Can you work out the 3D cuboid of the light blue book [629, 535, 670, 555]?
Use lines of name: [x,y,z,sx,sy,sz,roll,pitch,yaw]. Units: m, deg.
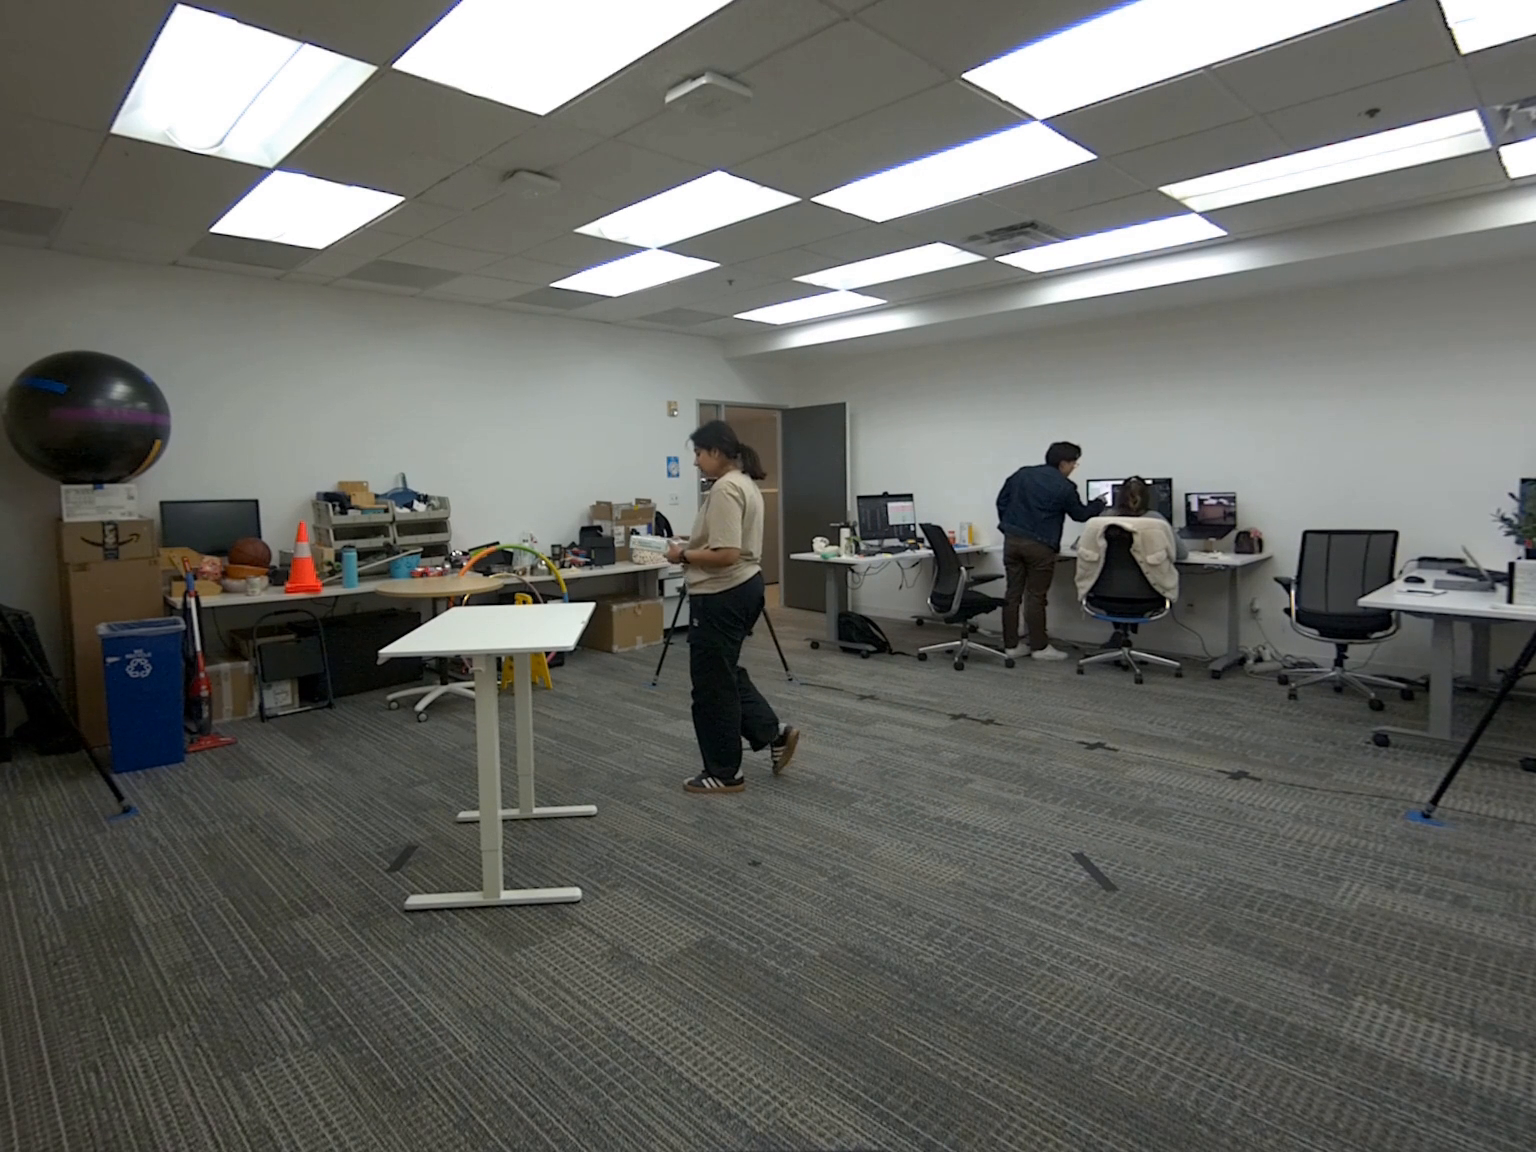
light blue book: [-0.457,-0.139,3.927,0.269,0.059,0.186,9,7,34]
